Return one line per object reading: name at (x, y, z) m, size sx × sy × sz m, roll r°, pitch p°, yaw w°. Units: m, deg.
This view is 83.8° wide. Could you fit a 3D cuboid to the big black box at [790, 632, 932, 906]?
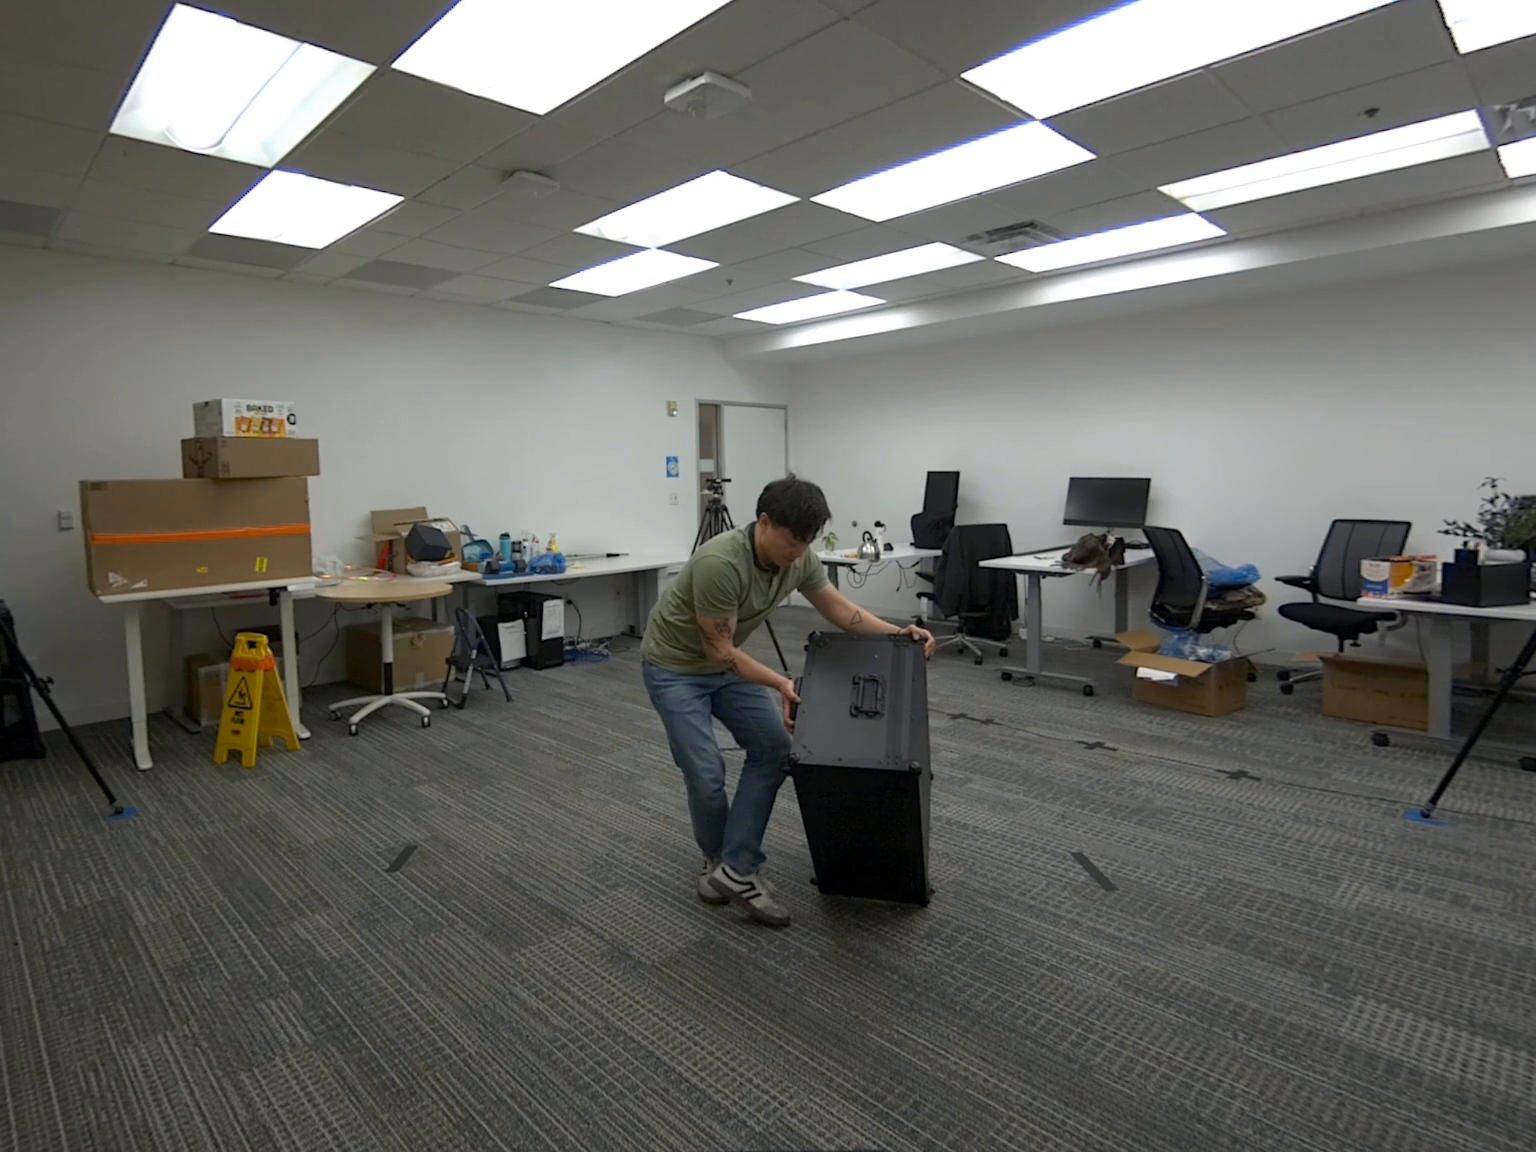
big black box at (0.317, 0.606, 2.719) m, size 0.402 × 0.834 × 0.530 m, roll 2°, pitch 43°, yaw 13°
